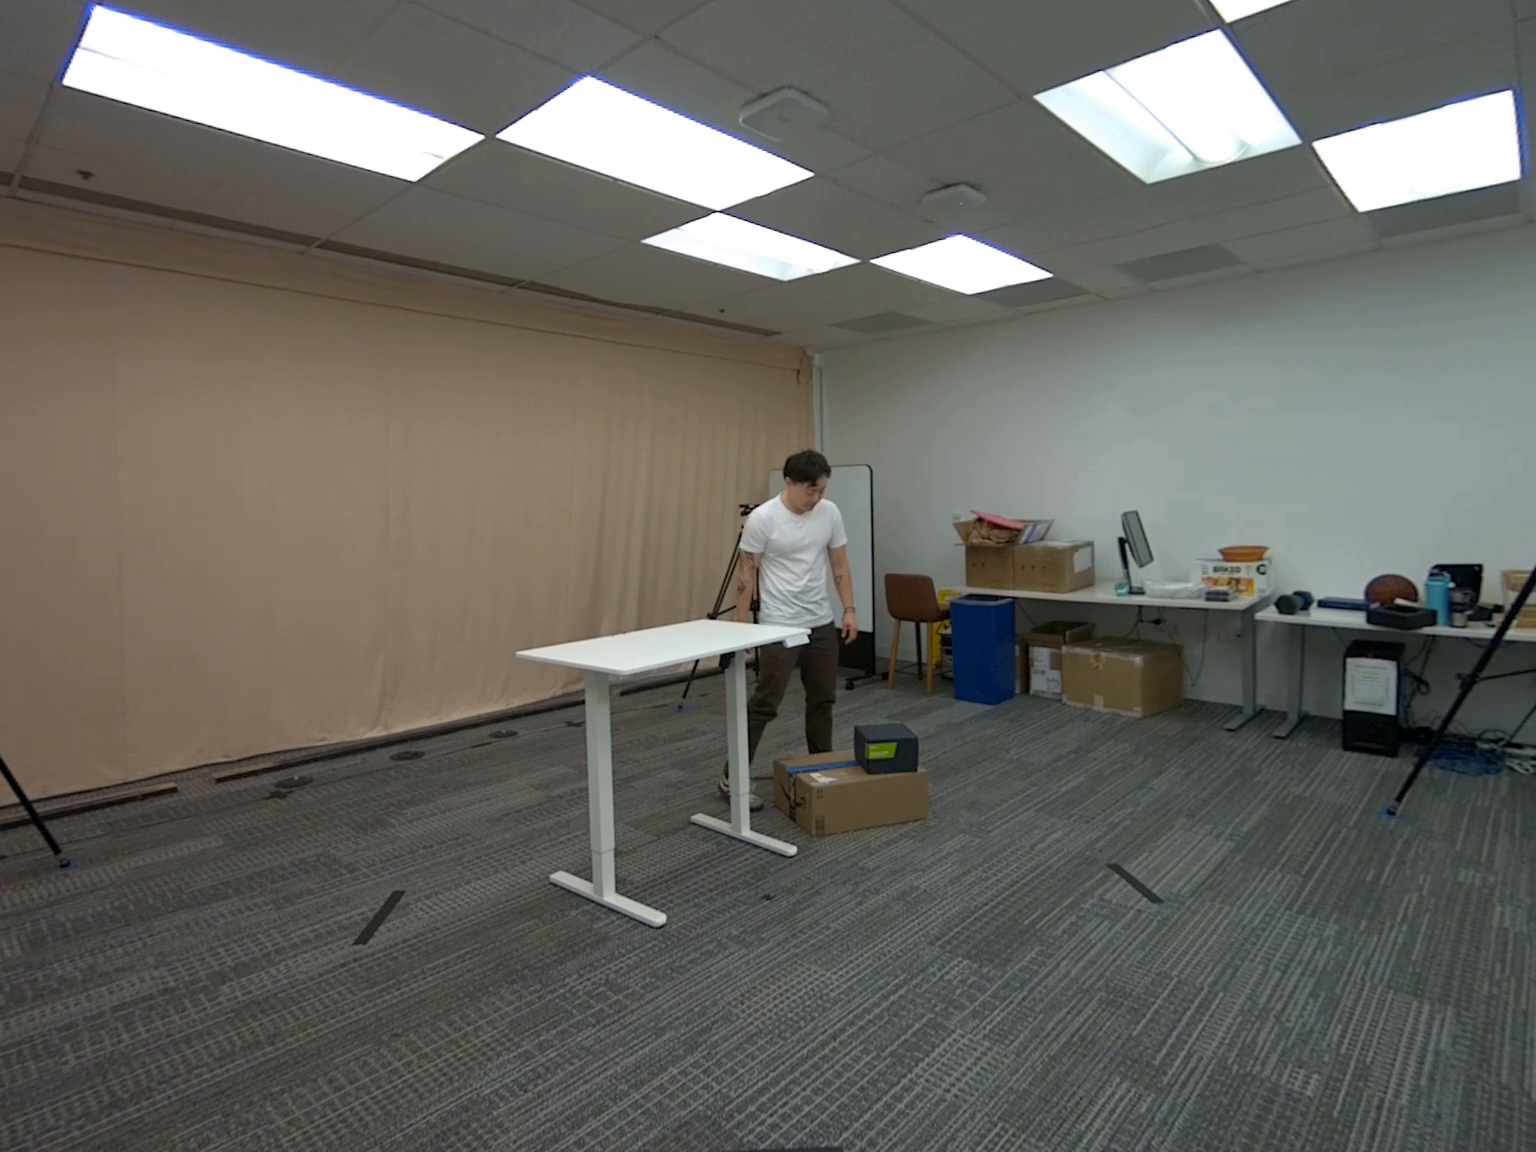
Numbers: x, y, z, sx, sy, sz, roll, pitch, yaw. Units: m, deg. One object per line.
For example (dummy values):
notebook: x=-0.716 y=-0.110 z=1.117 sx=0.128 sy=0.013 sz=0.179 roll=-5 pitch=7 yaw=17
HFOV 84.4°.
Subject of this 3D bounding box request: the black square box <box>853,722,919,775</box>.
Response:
black square box: x=0.526 y=0.764 z=3.746 sx=0.226 sy=0.155 sz=0.219 roll=-2 pitch=5 yaw=-7
